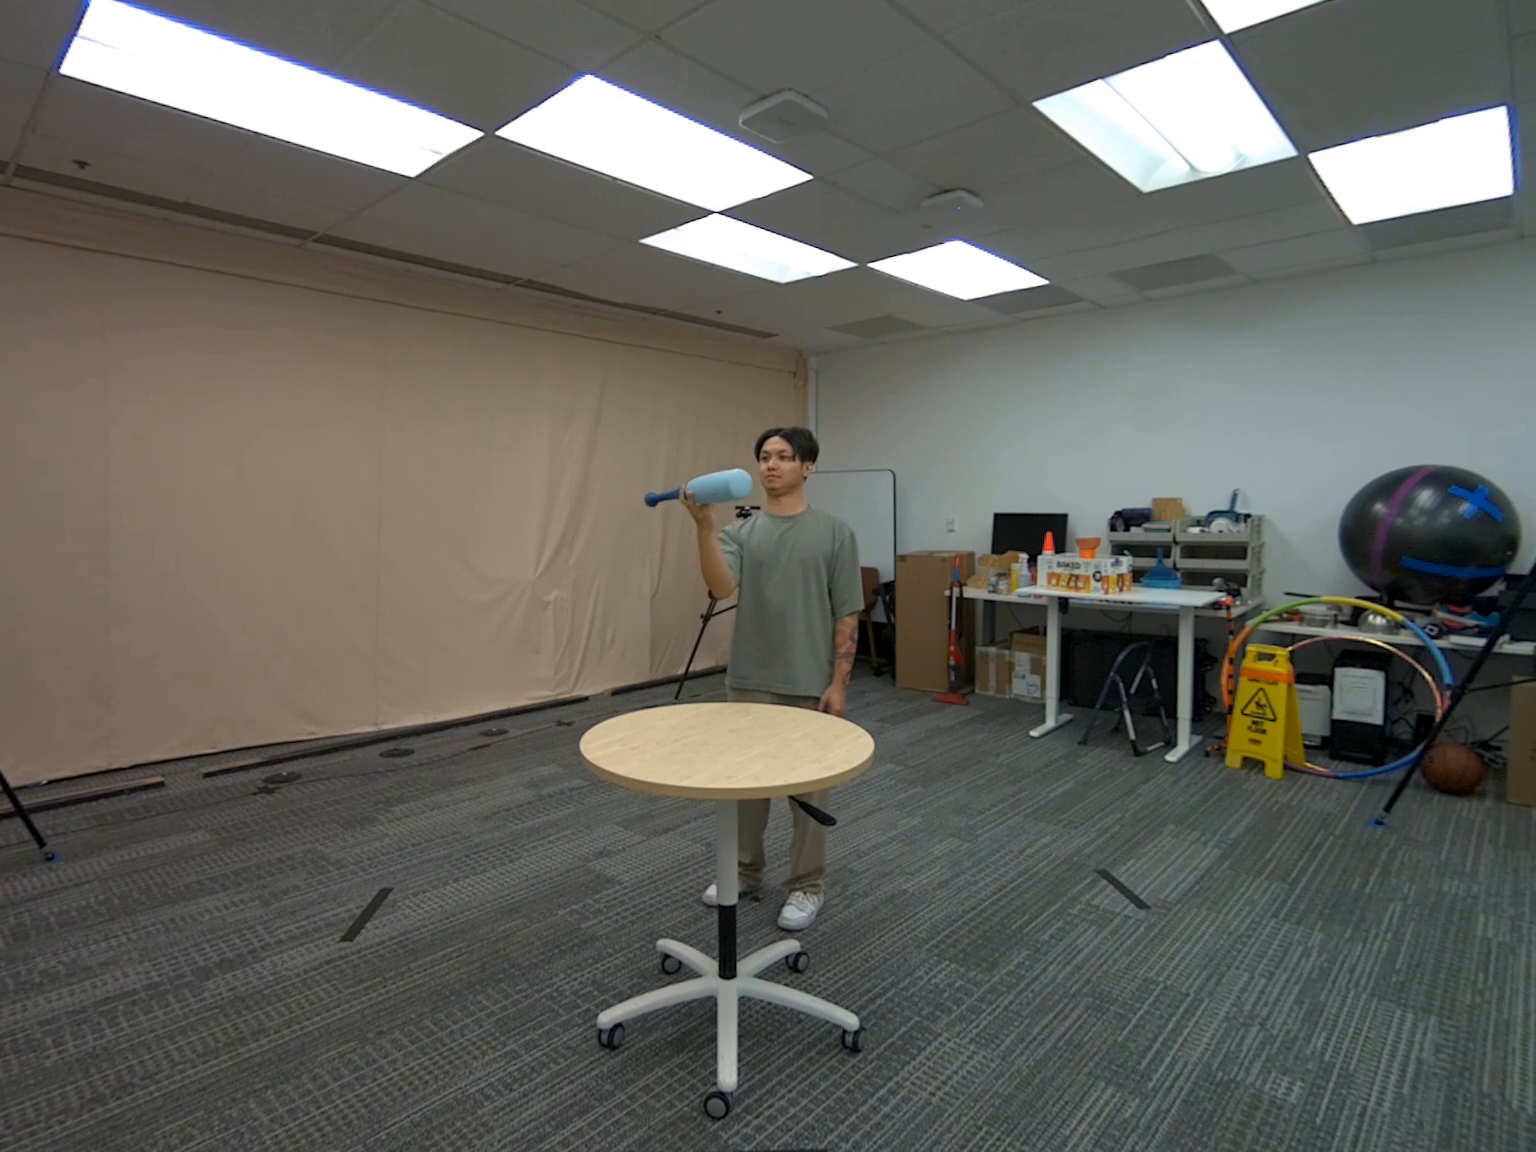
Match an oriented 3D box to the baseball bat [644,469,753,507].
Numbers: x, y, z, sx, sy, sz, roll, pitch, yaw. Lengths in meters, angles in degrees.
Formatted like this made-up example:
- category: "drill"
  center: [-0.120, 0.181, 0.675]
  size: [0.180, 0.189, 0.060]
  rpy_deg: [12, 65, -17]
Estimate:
- category: "baseball bat"
  center: [-0.228, -0.256, 2.553]
  size: [0.086, 0.089, 0.558]
  rpy_deg: [-2, 0, -34]
